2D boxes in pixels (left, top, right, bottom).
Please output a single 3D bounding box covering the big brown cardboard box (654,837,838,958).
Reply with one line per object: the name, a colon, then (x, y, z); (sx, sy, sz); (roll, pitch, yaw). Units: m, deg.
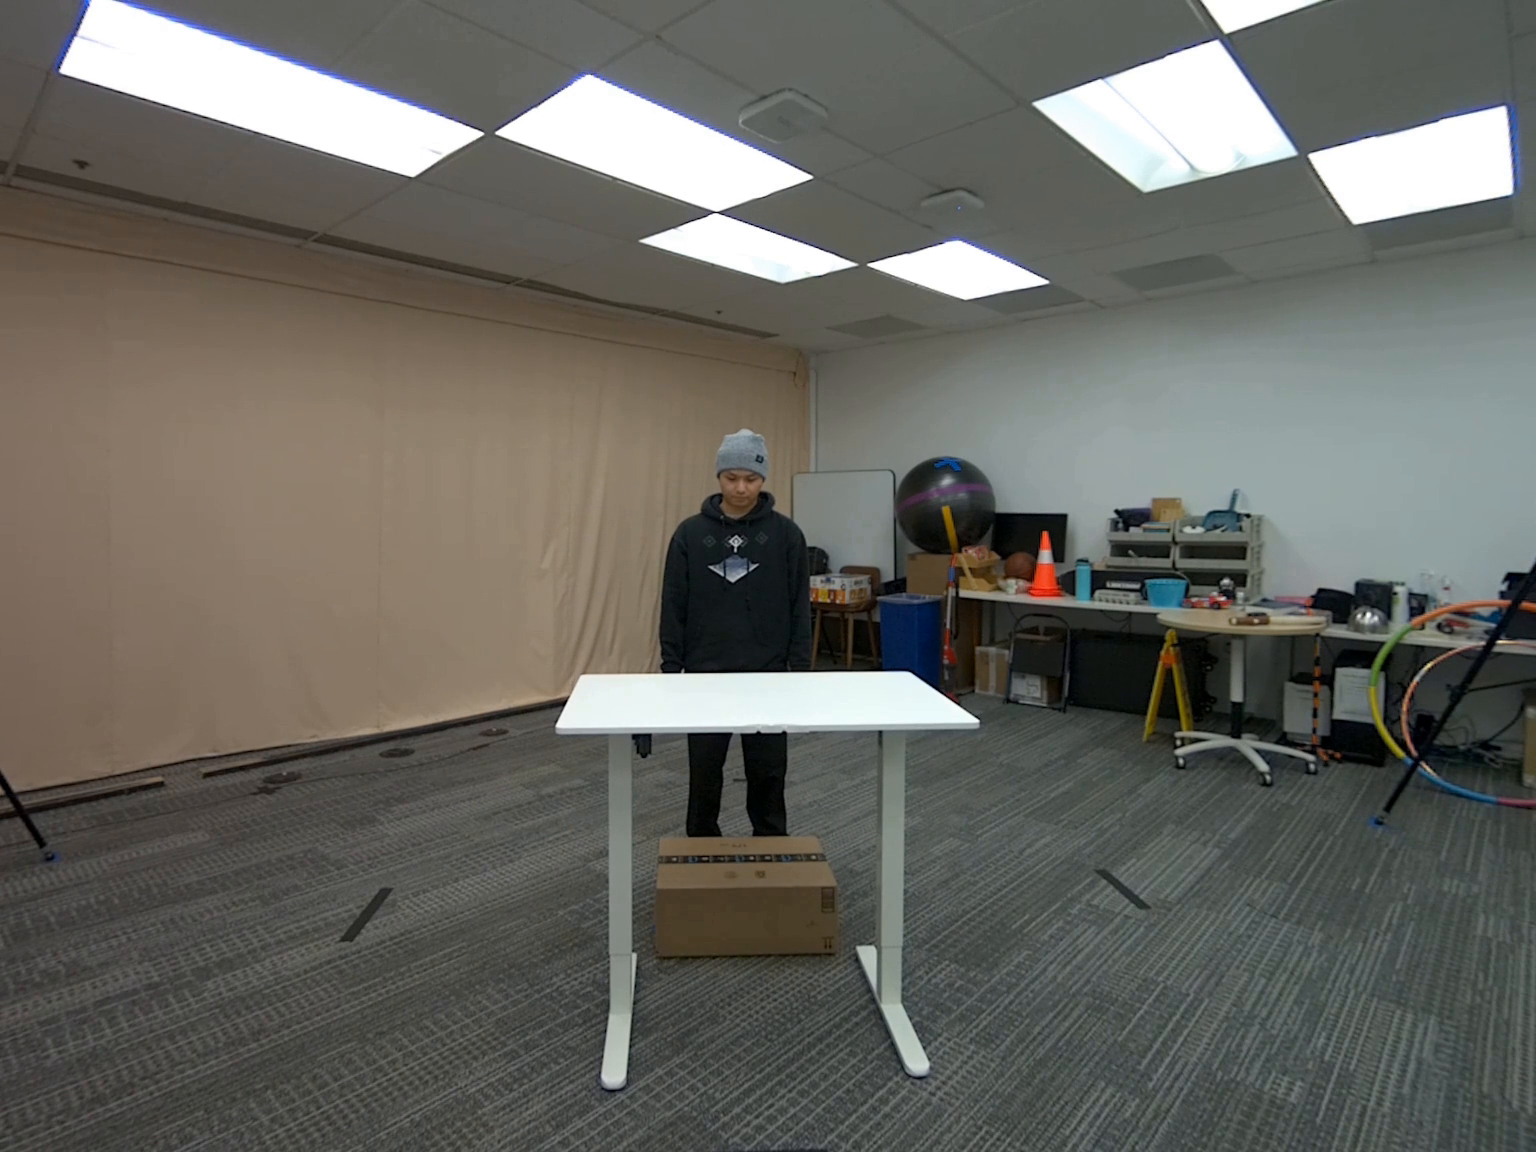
big brown cardboard box: (-0.087, 1.046, 2.797); (0.588, 0.232, 0.419); (-1, 4, -3)
